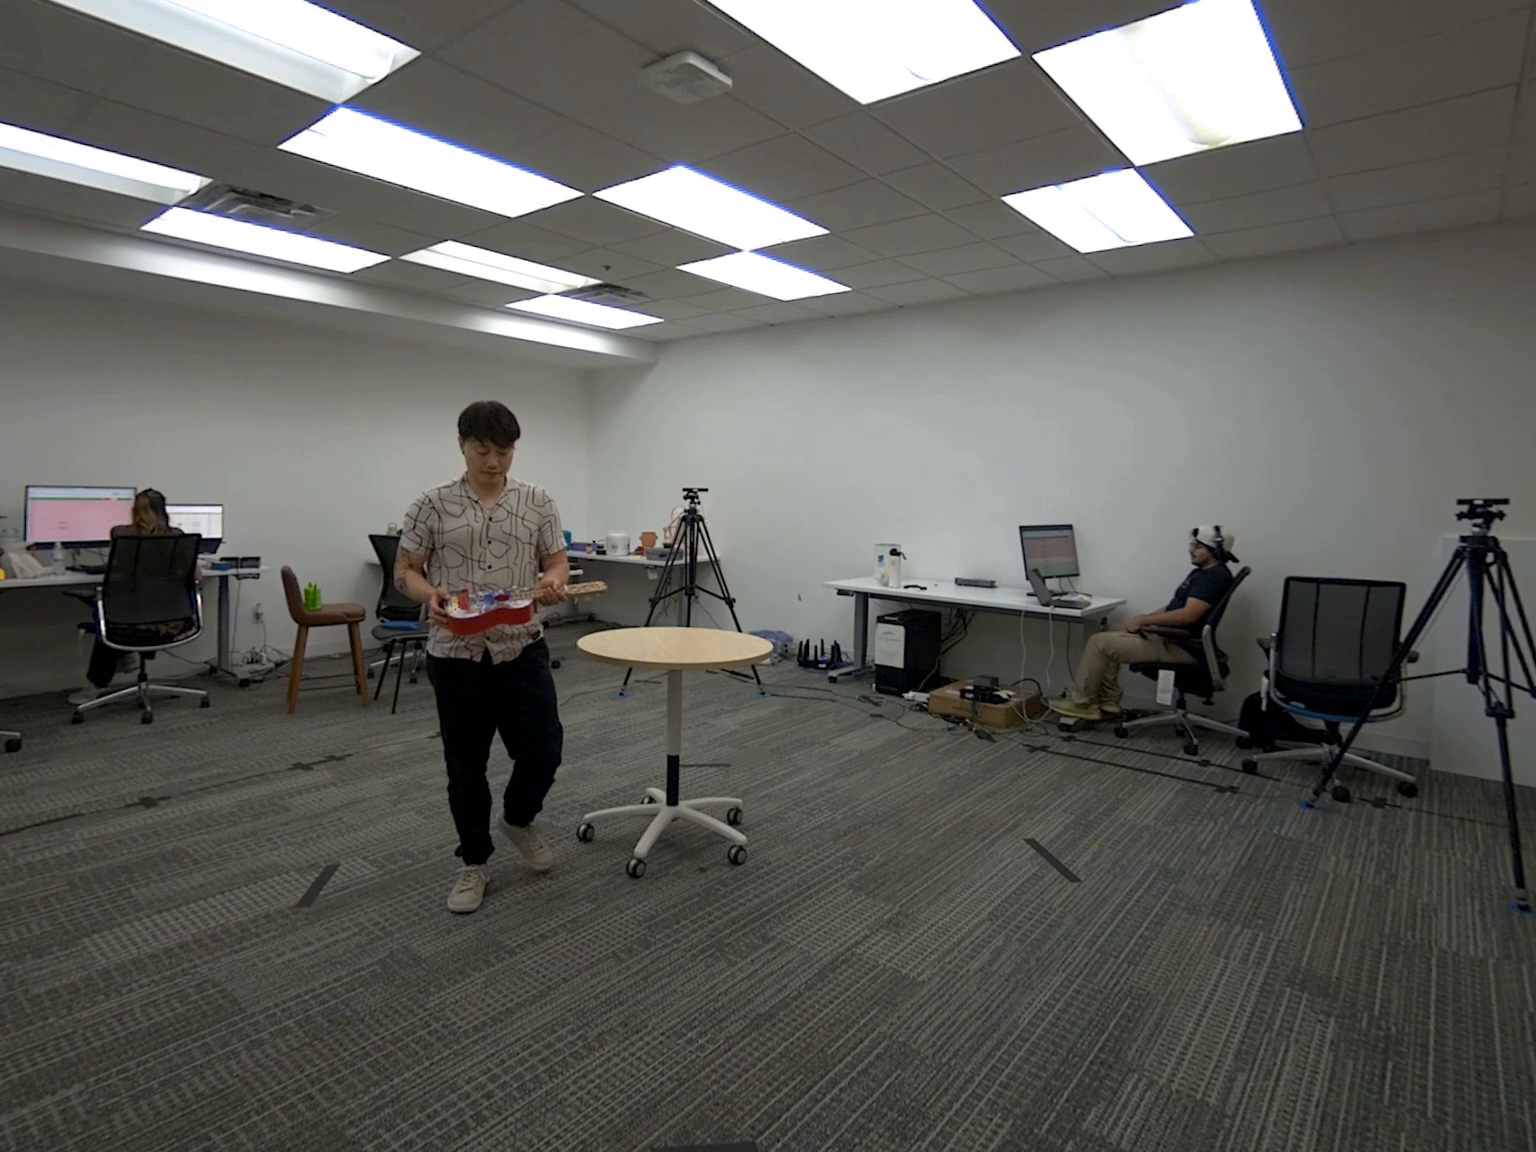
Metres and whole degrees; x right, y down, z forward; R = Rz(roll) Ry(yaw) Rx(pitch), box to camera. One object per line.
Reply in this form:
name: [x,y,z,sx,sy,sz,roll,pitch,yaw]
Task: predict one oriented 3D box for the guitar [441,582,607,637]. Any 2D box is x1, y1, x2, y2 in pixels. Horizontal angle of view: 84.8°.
guitar: [-0.745,0.098,2.632,0.491,0.069,0.199,-3,23,-13]
